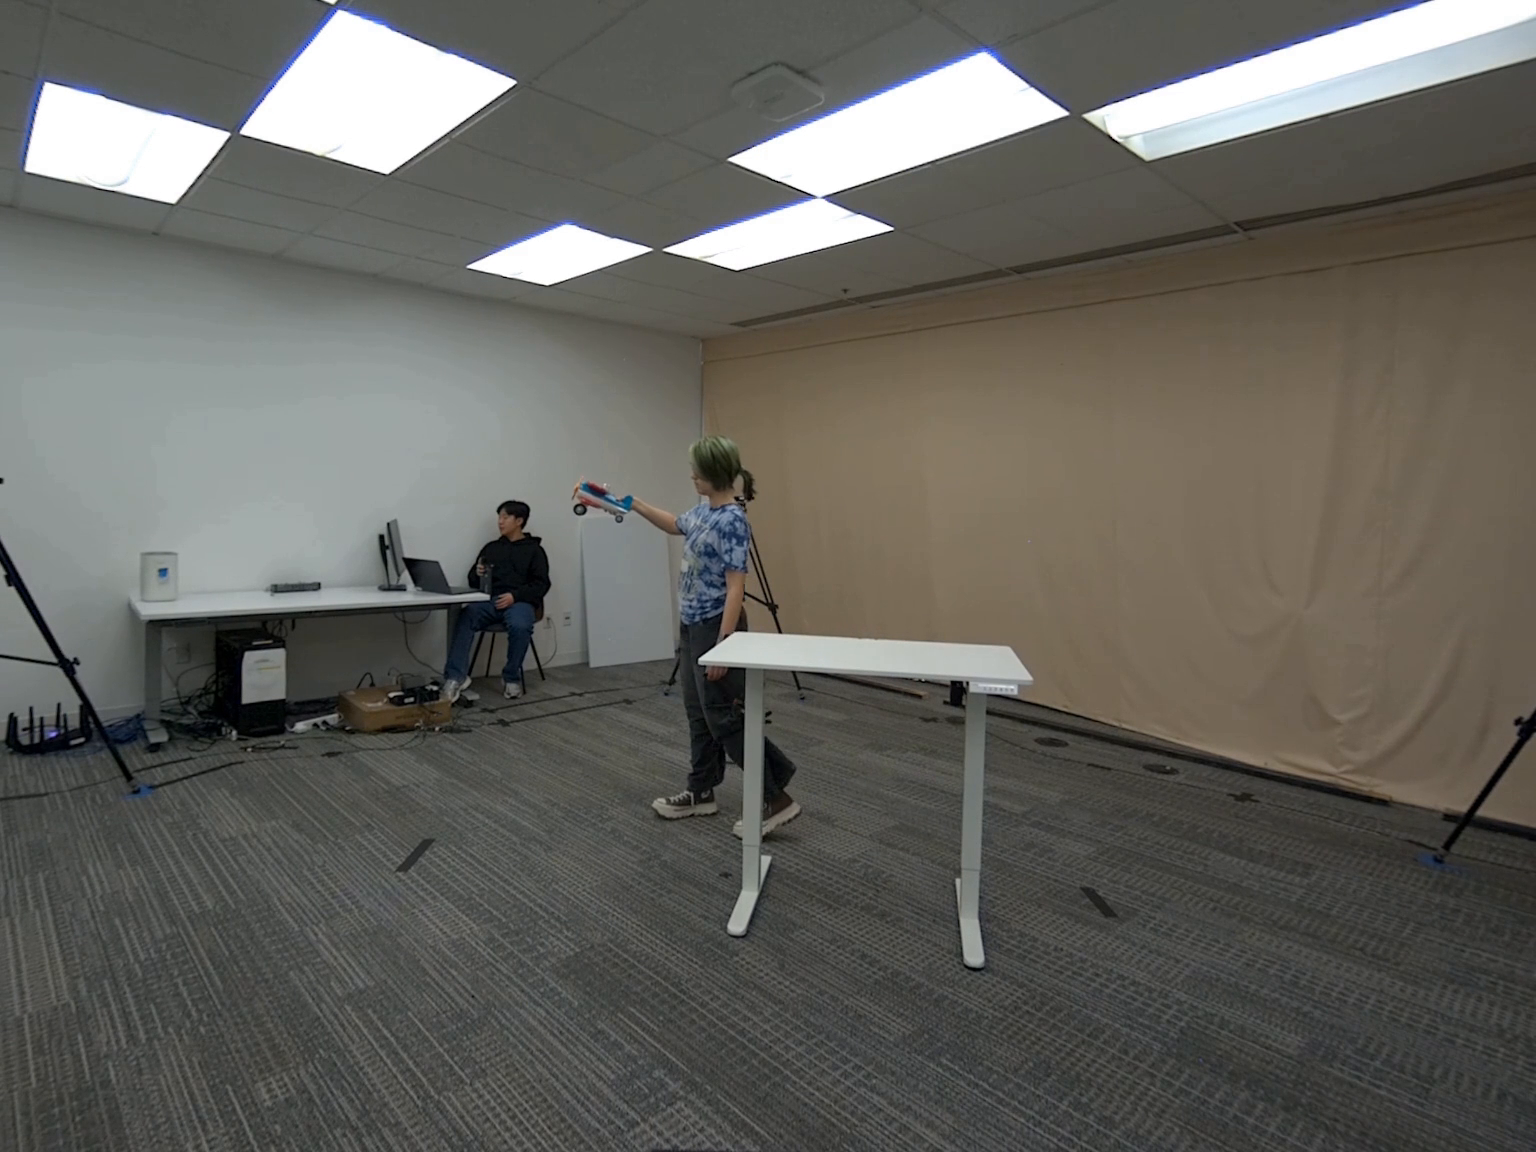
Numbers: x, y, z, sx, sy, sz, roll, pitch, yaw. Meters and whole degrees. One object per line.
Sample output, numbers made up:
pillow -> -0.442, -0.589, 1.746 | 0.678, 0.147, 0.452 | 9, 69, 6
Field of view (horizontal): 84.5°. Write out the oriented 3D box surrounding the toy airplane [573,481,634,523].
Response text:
toy airplane -> -0.747, -0.327, 3.740 | 0.253, 0.156, 0.258 | 10, 3, -35
